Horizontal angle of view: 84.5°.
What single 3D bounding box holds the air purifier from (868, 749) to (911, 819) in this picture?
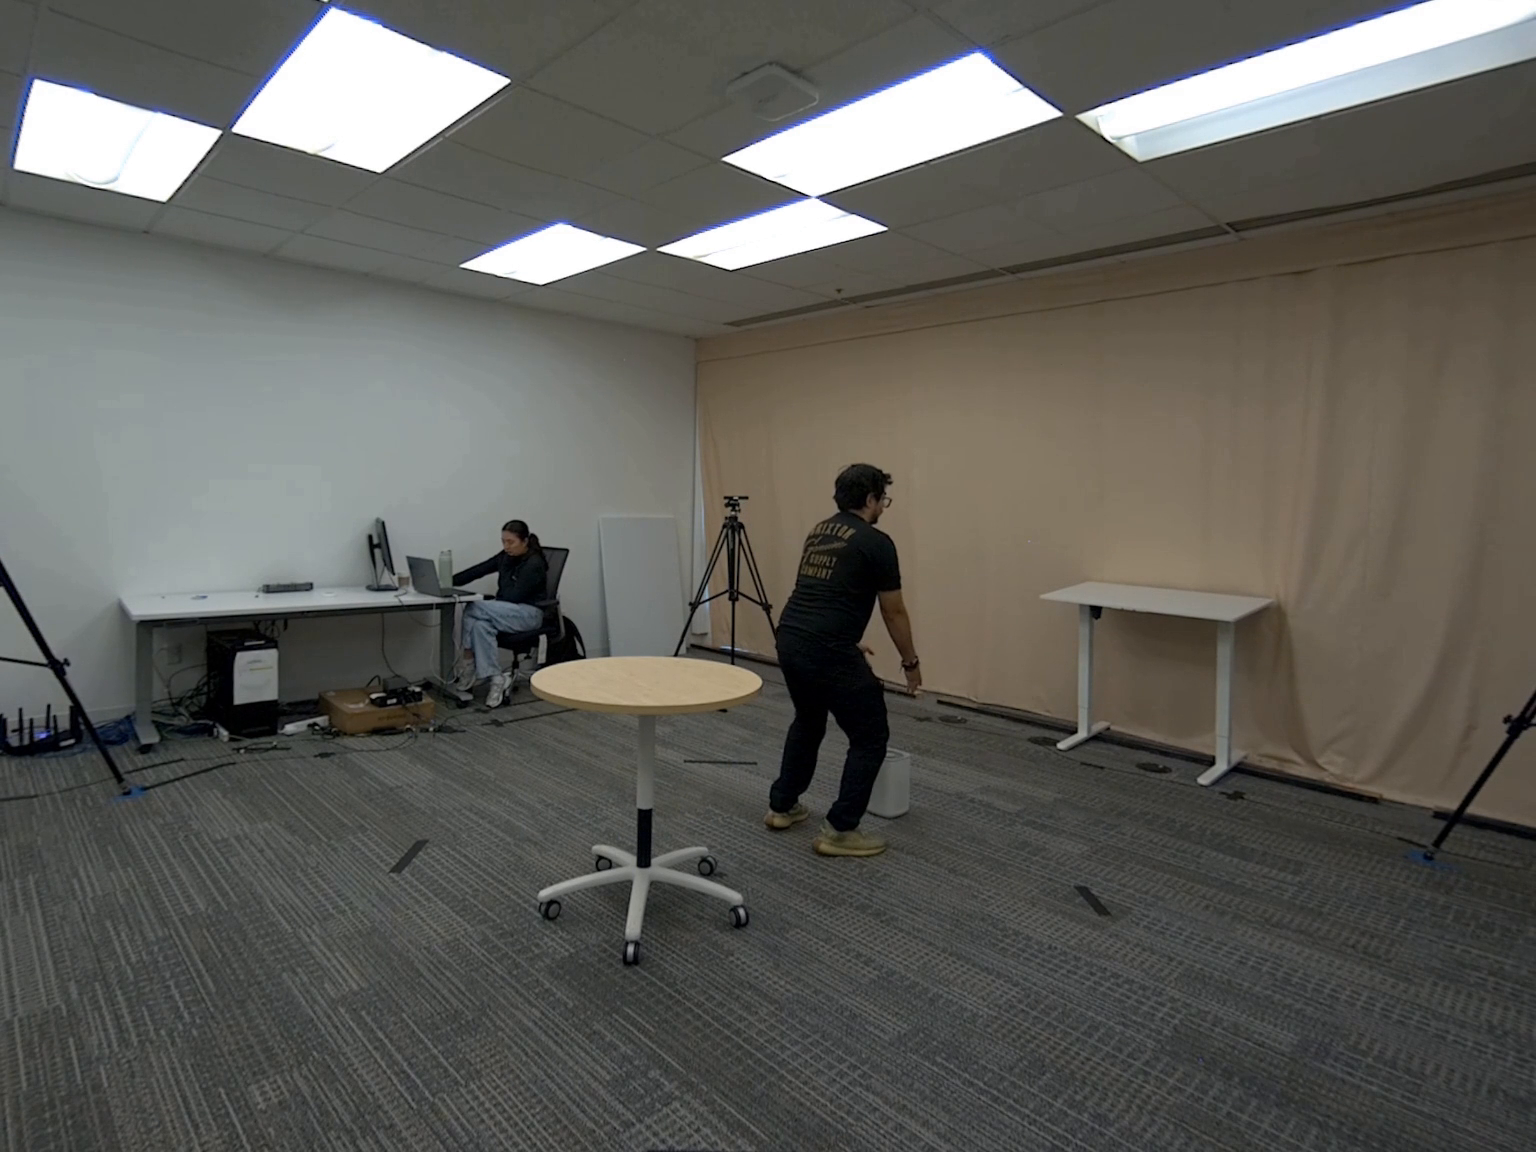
[{"bbox_3d":[0.528,0.926,3.787,0.167,0.265,0.175,0,3,-41],"label":"air purifier"}]
